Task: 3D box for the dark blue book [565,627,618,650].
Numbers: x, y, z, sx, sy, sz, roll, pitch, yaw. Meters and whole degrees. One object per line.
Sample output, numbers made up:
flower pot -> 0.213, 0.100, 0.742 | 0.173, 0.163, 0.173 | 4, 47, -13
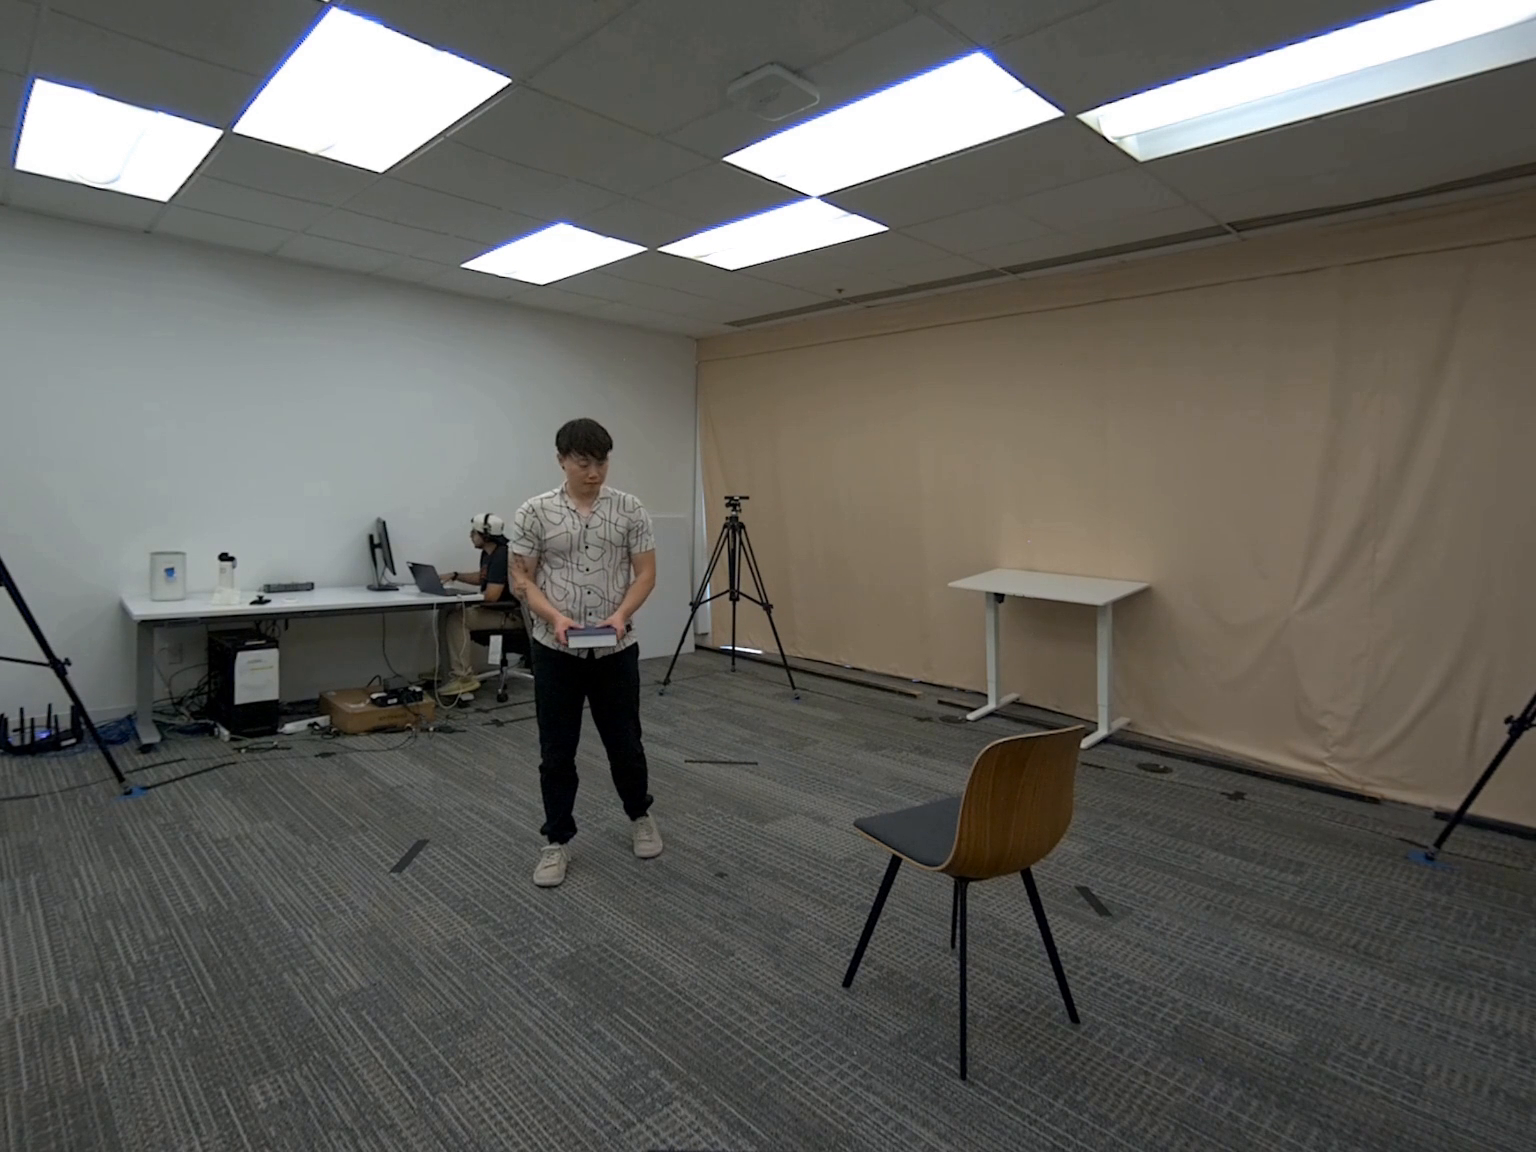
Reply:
dark blue book -> -0.612, 0.207, 2.860 | 0.162, 0.045, 0.247 | 0, 4, -7
